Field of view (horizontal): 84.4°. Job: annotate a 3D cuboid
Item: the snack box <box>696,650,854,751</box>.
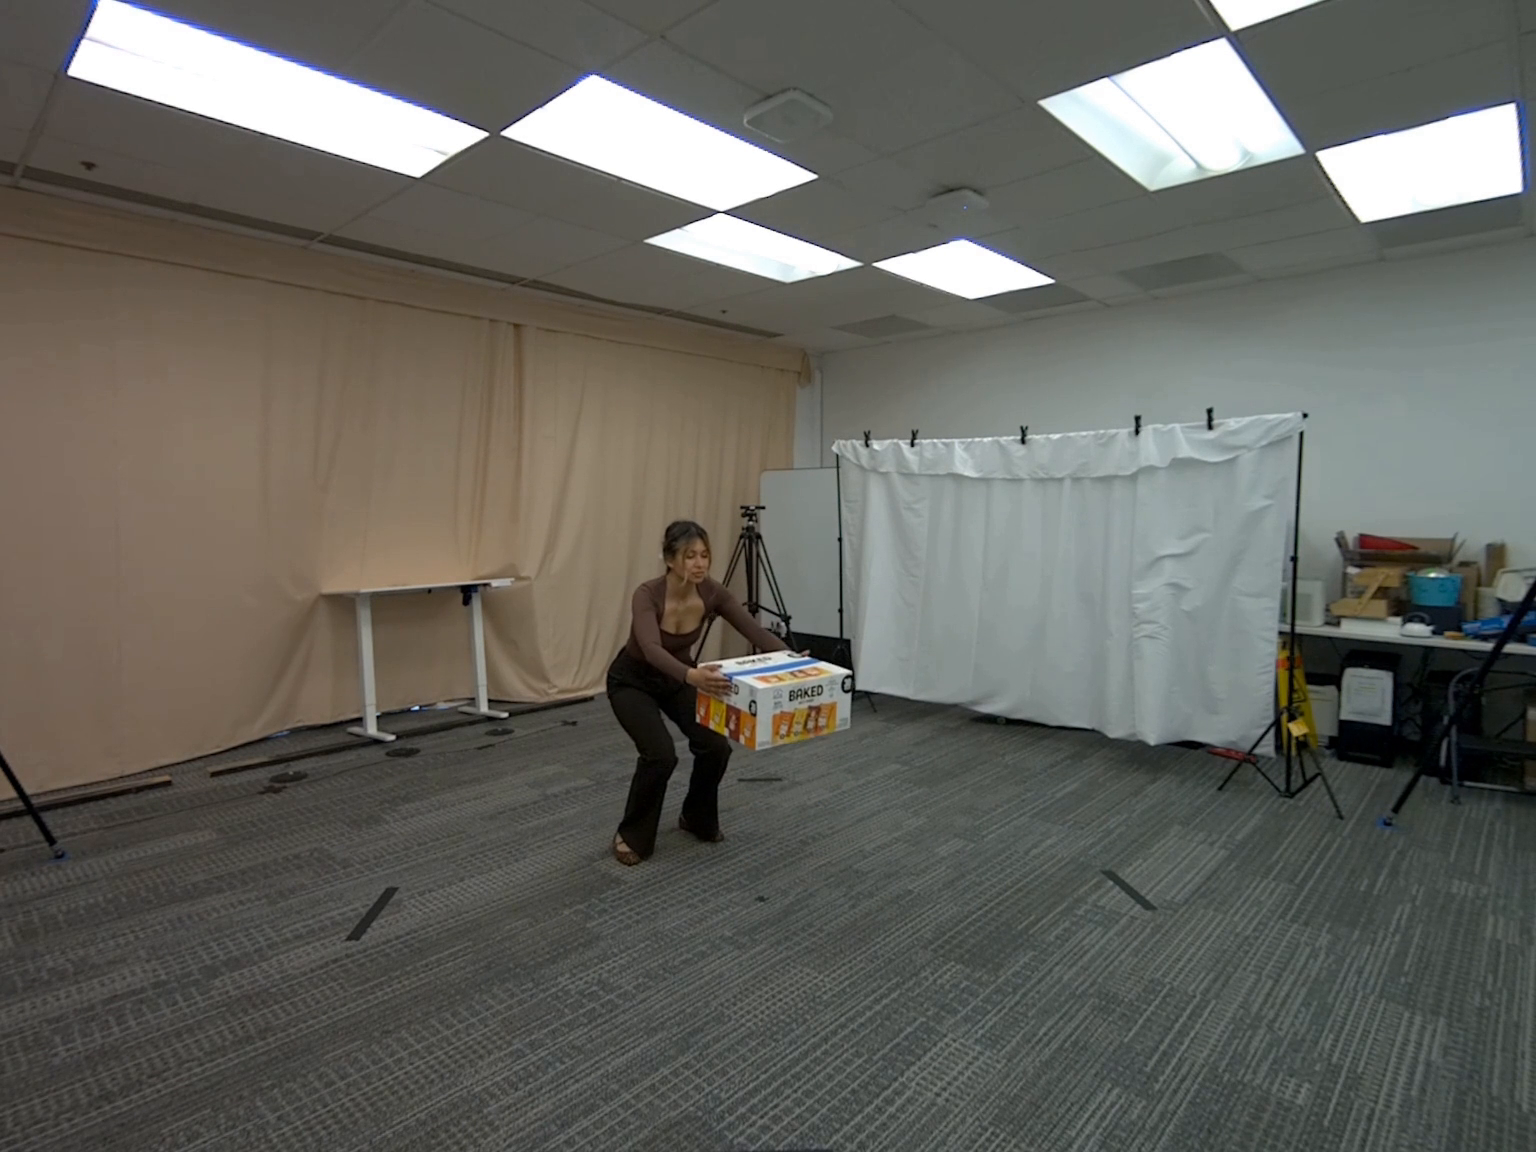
[{"bbox_3d":[0.024,0.409,2.855,0.393,0.205,0.352,-5,10,-37],"label":"snack box"}]
